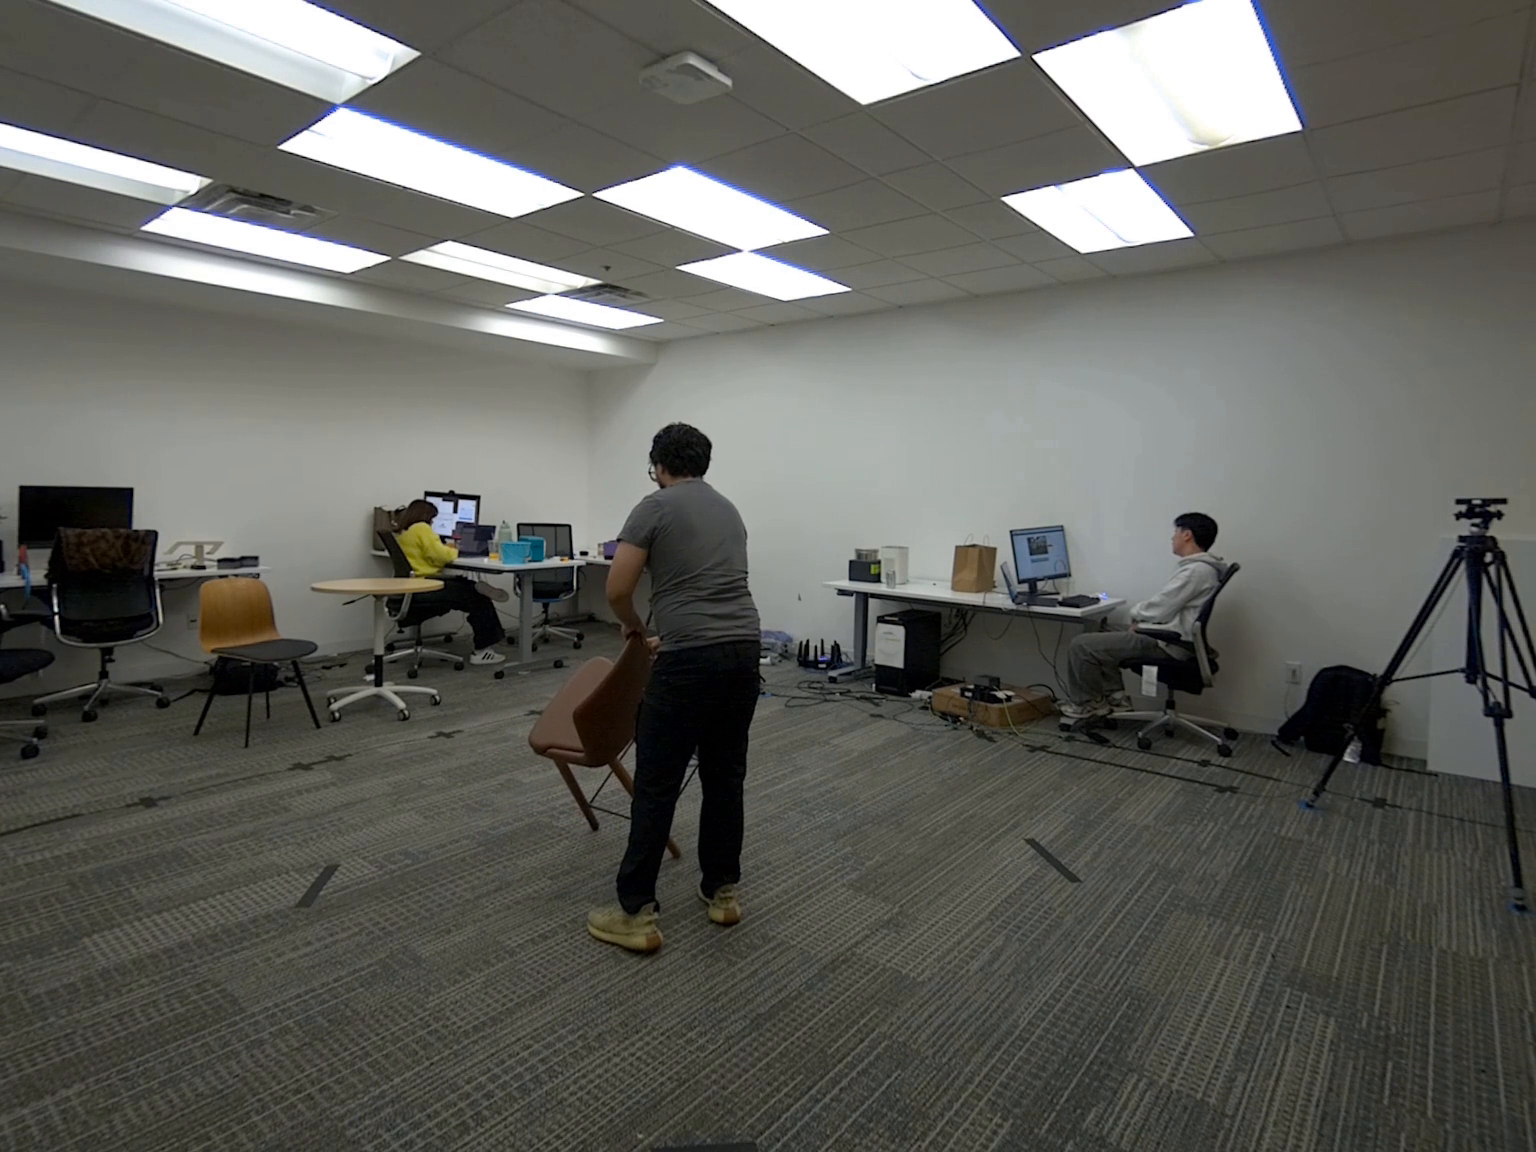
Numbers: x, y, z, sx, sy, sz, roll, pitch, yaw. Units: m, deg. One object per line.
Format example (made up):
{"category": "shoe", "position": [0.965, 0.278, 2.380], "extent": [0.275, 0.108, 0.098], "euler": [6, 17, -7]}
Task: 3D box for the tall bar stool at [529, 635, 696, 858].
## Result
{"category": "tall bar stool", "position": [-0.588, 0.600, 3.204], "extent": [0.483, 0.858, 0.458], "euler": [8, 46, 34]}
